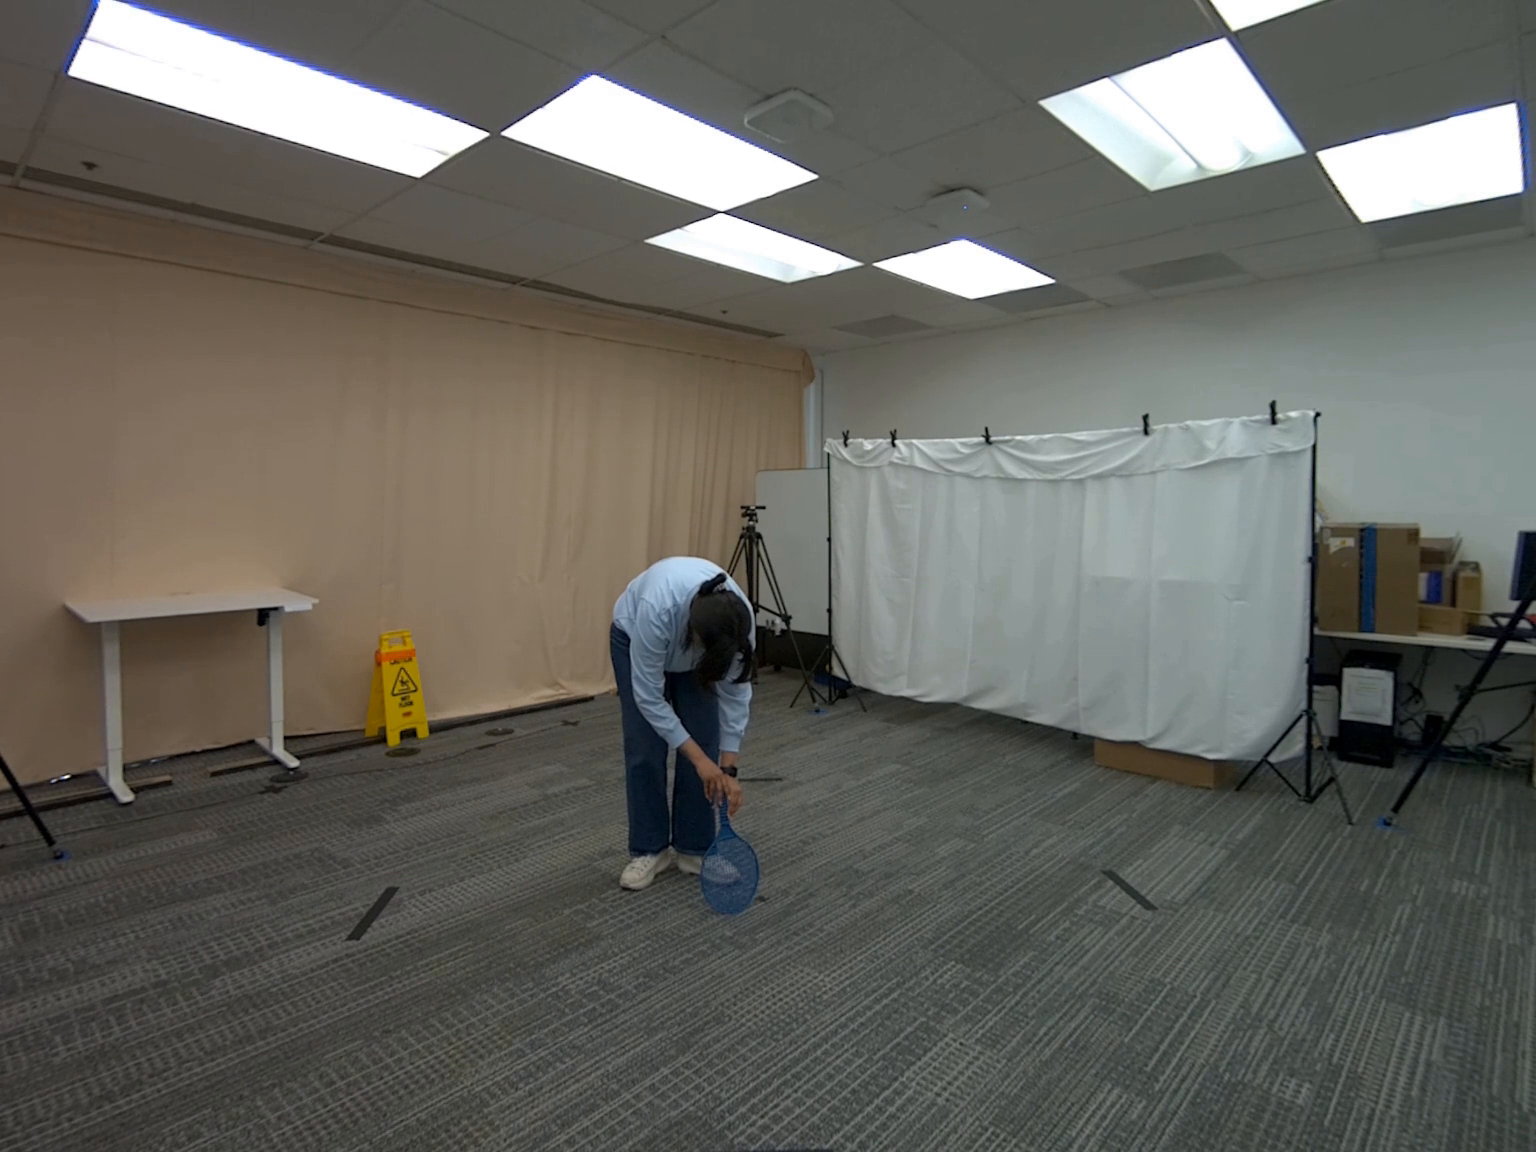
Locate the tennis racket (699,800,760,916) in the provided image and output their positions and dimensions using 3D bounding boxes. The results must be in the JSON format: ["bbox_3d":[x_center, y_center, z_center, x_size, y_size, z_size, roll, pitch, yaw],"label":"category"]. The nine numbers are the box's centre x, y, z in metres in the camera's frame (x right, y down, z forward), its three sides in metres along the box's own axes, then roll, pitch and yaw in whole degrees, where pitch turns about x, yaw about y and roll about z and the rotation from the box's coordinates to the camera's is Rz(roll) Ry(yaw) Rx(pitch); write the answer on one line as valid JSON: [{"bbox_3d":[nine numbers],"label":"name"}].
[{"bbox_3d":[-0.134,0.939,2.873,0.210,0.432,0.032,-5,4,-18],"label":"tennis racket"}]
